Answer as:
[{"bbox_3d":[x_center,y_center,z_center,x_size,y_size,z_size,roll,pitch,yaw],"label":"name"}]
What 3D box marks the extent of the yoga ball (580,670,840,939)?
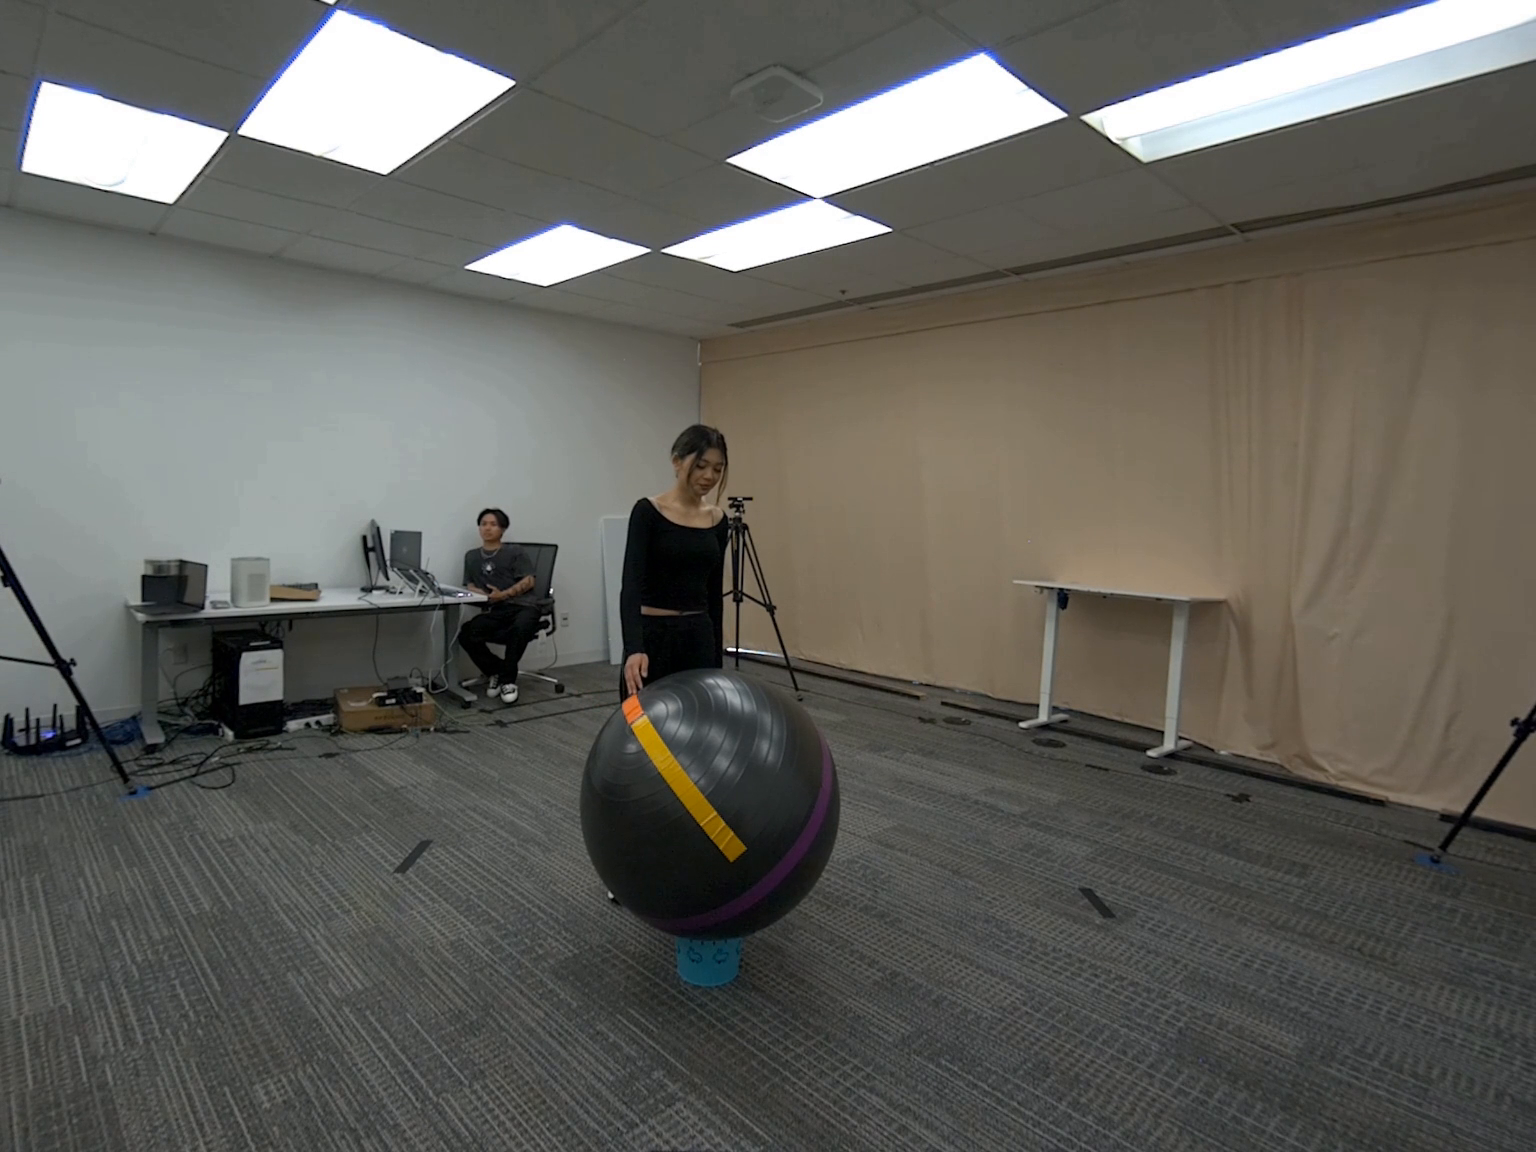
[{"bbox_3d":[-0.169,0.658,2.454,0.757,0.756,0.761,1,4,-1],"label":"yoga ball"}]
